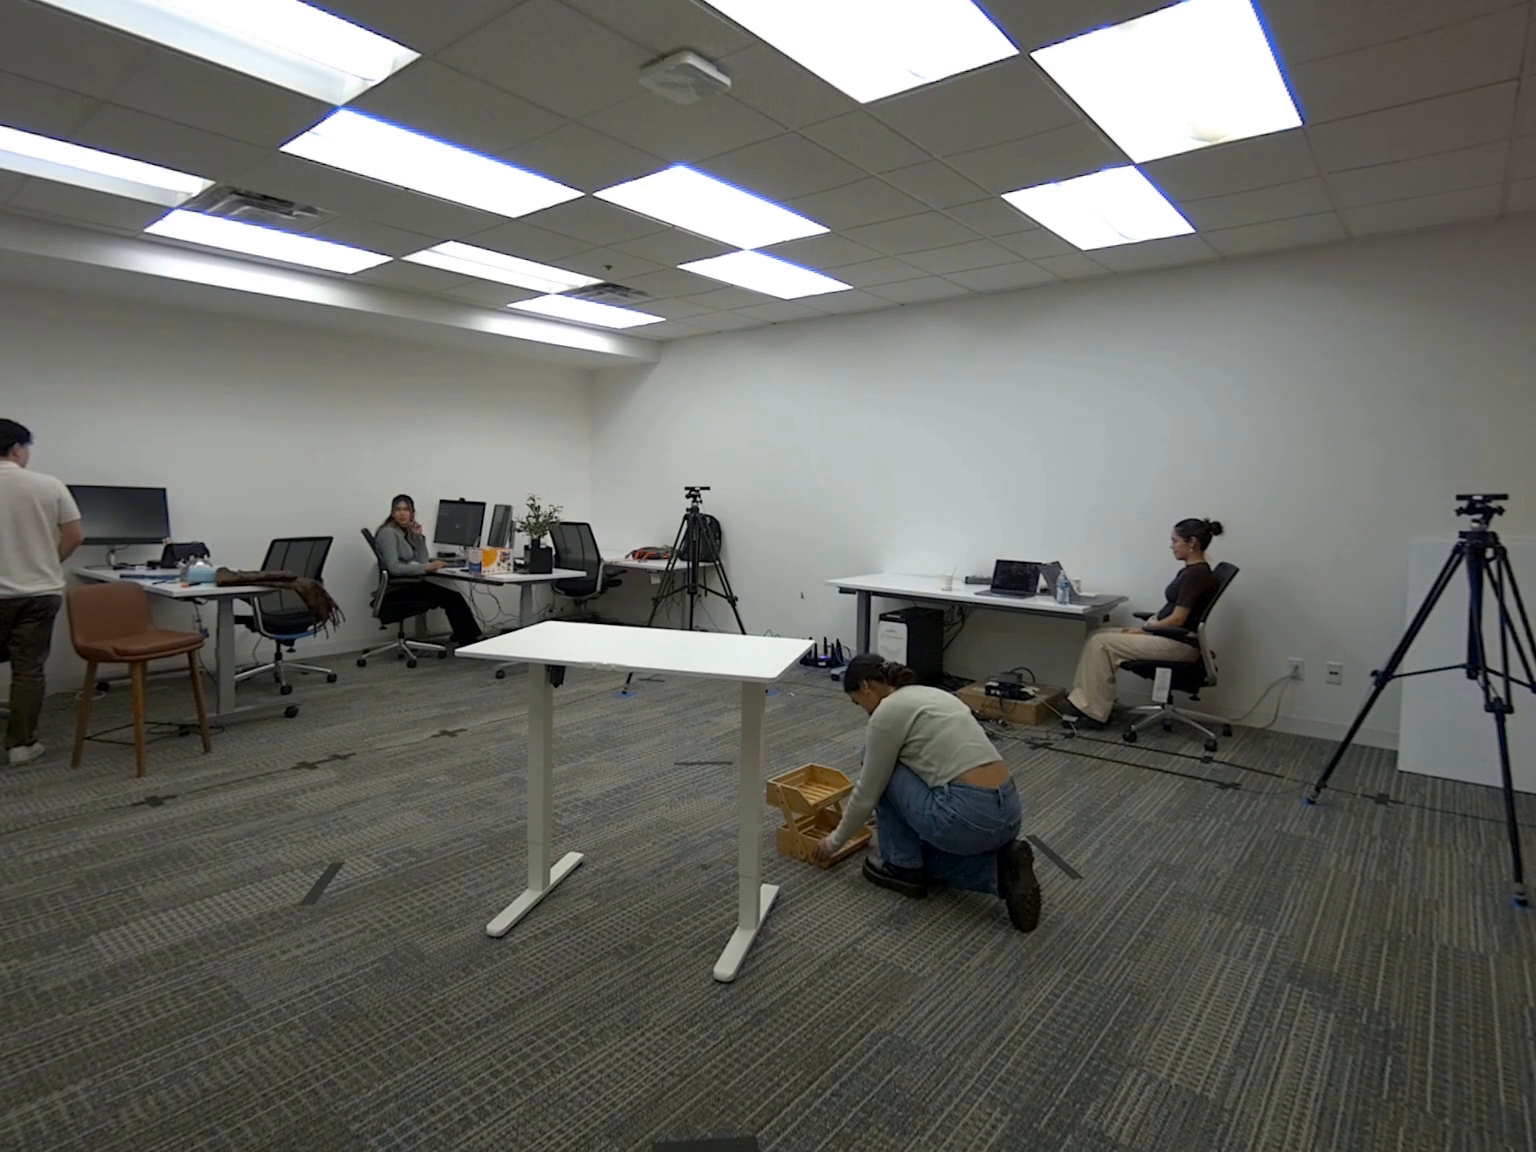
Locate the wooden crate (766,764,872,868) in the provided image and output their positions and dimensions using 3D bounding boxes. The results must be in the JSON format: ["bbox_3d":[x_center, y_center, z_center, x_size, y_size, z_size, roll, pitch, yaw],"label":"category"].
[{"bbox_3d":[0.195,0.916,3.317,0.312,0.272,0.315,4,6,39],"label":"wooden crate"}]
